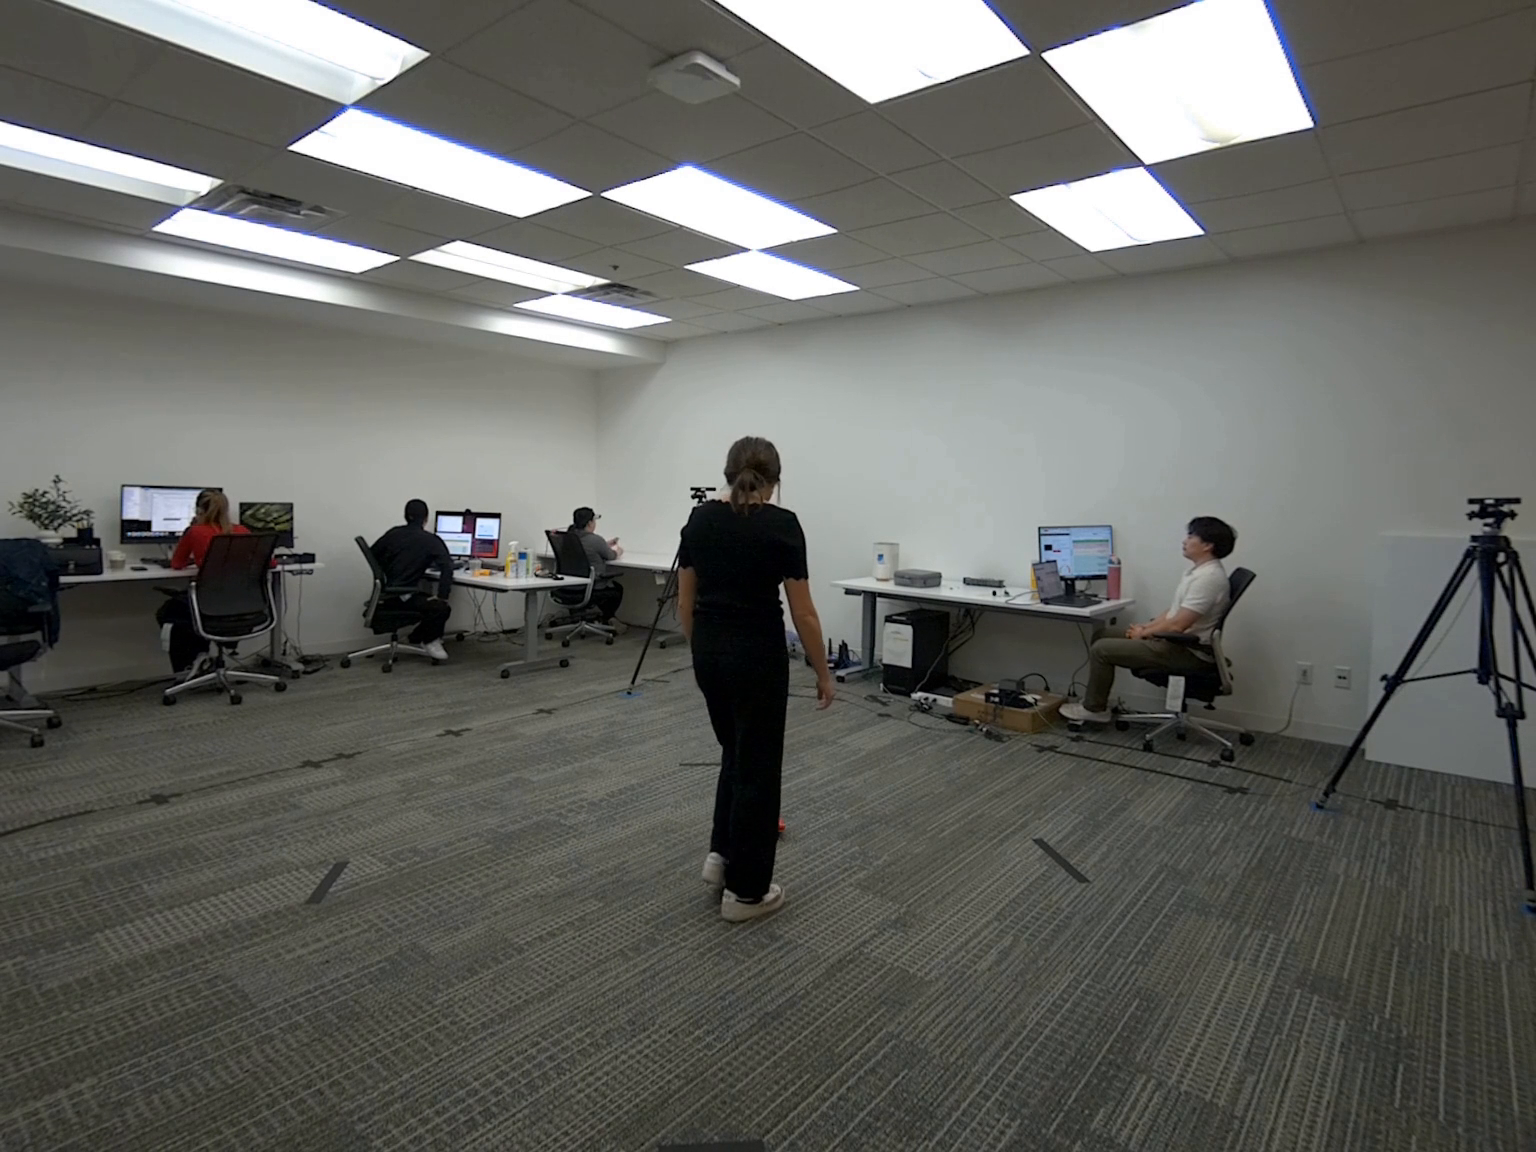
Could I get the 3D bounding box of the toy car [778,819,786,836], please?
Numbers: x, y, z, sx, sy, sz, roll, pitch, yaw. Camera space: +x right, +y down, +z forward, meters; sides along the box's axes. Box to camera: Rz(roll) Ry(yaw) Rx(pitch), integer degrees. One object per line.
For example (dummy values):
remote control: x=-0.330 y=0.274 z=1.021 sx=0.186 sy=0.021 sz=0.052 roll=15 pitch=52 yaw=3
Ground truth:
toy car: x=-0.025 y=0.996 z=3.480 sx=0.127 sy=0.084 sz=0.259 roll=0 pitch=-5 yaw=-25
